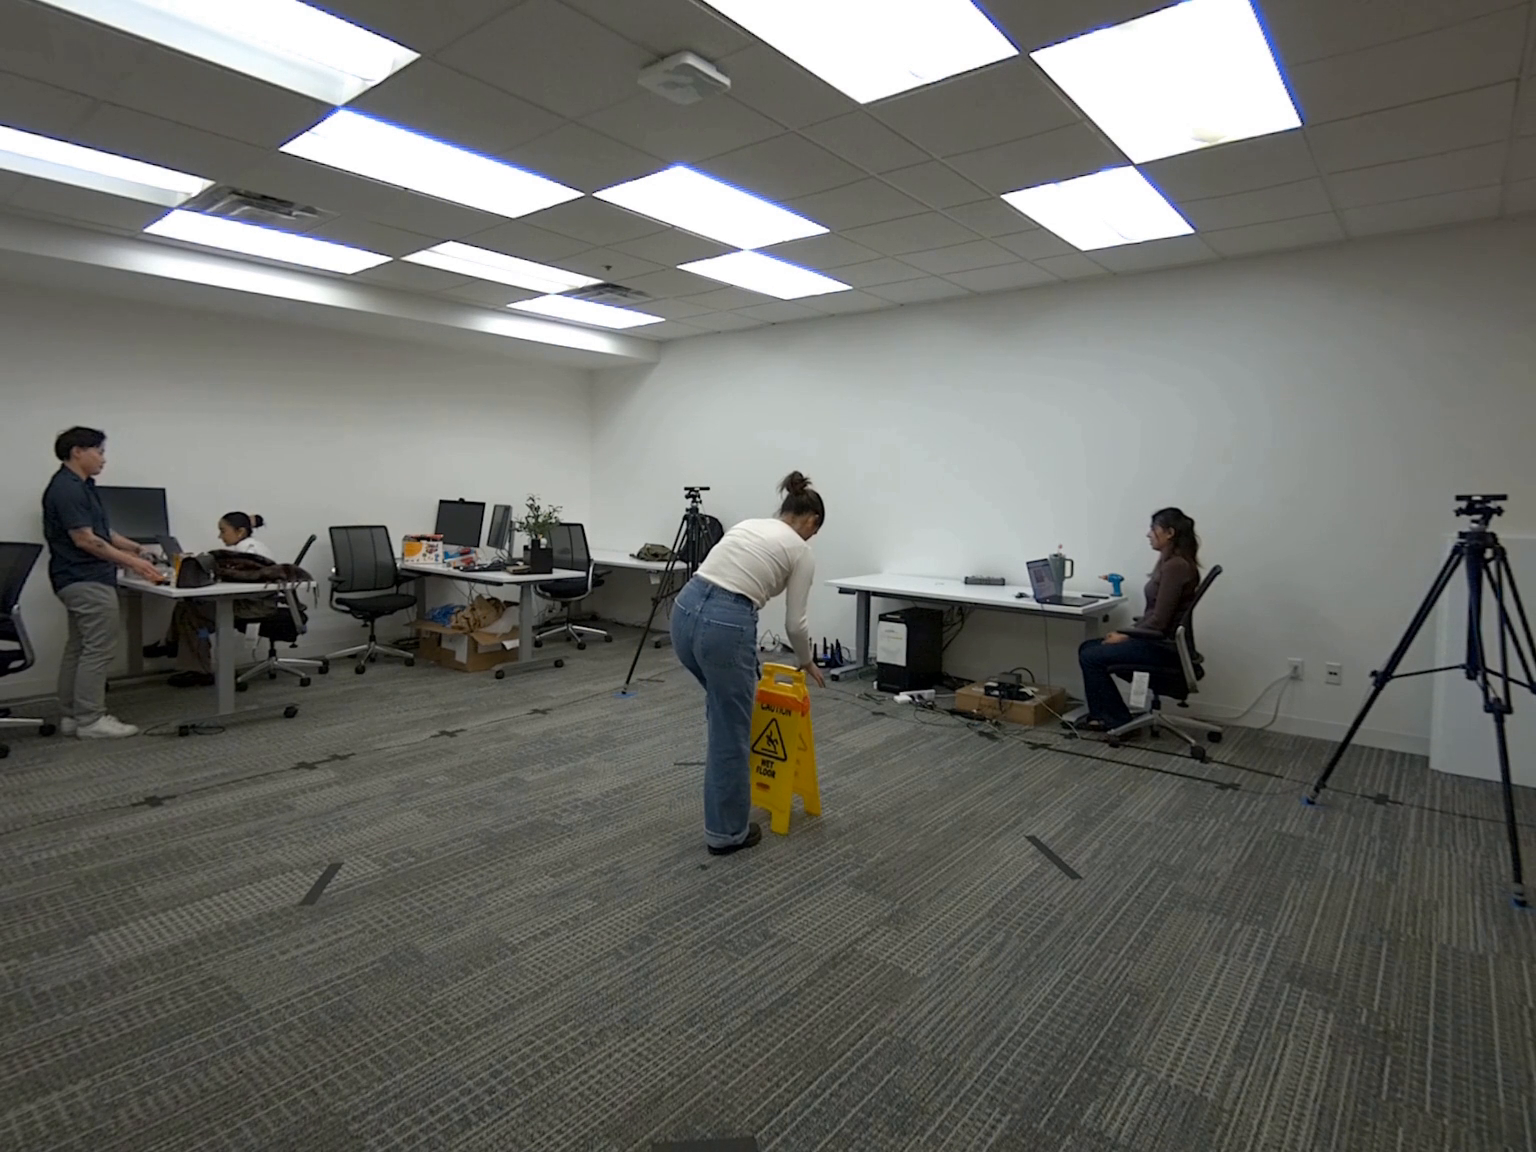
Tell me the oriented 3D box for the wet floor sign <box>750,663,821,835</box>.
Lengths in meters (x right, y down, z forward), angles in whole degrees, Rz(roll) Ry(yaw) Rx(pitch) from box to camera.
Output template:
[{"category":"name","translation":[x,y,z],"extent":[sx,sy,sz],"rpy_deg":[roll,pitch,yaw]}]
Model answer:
[{"category":"wet floor sign","translation":[0.041,0.695,3.588],"extent":[0.291,0.643,0.281],"rpy_deg":[6,6,35]}]
